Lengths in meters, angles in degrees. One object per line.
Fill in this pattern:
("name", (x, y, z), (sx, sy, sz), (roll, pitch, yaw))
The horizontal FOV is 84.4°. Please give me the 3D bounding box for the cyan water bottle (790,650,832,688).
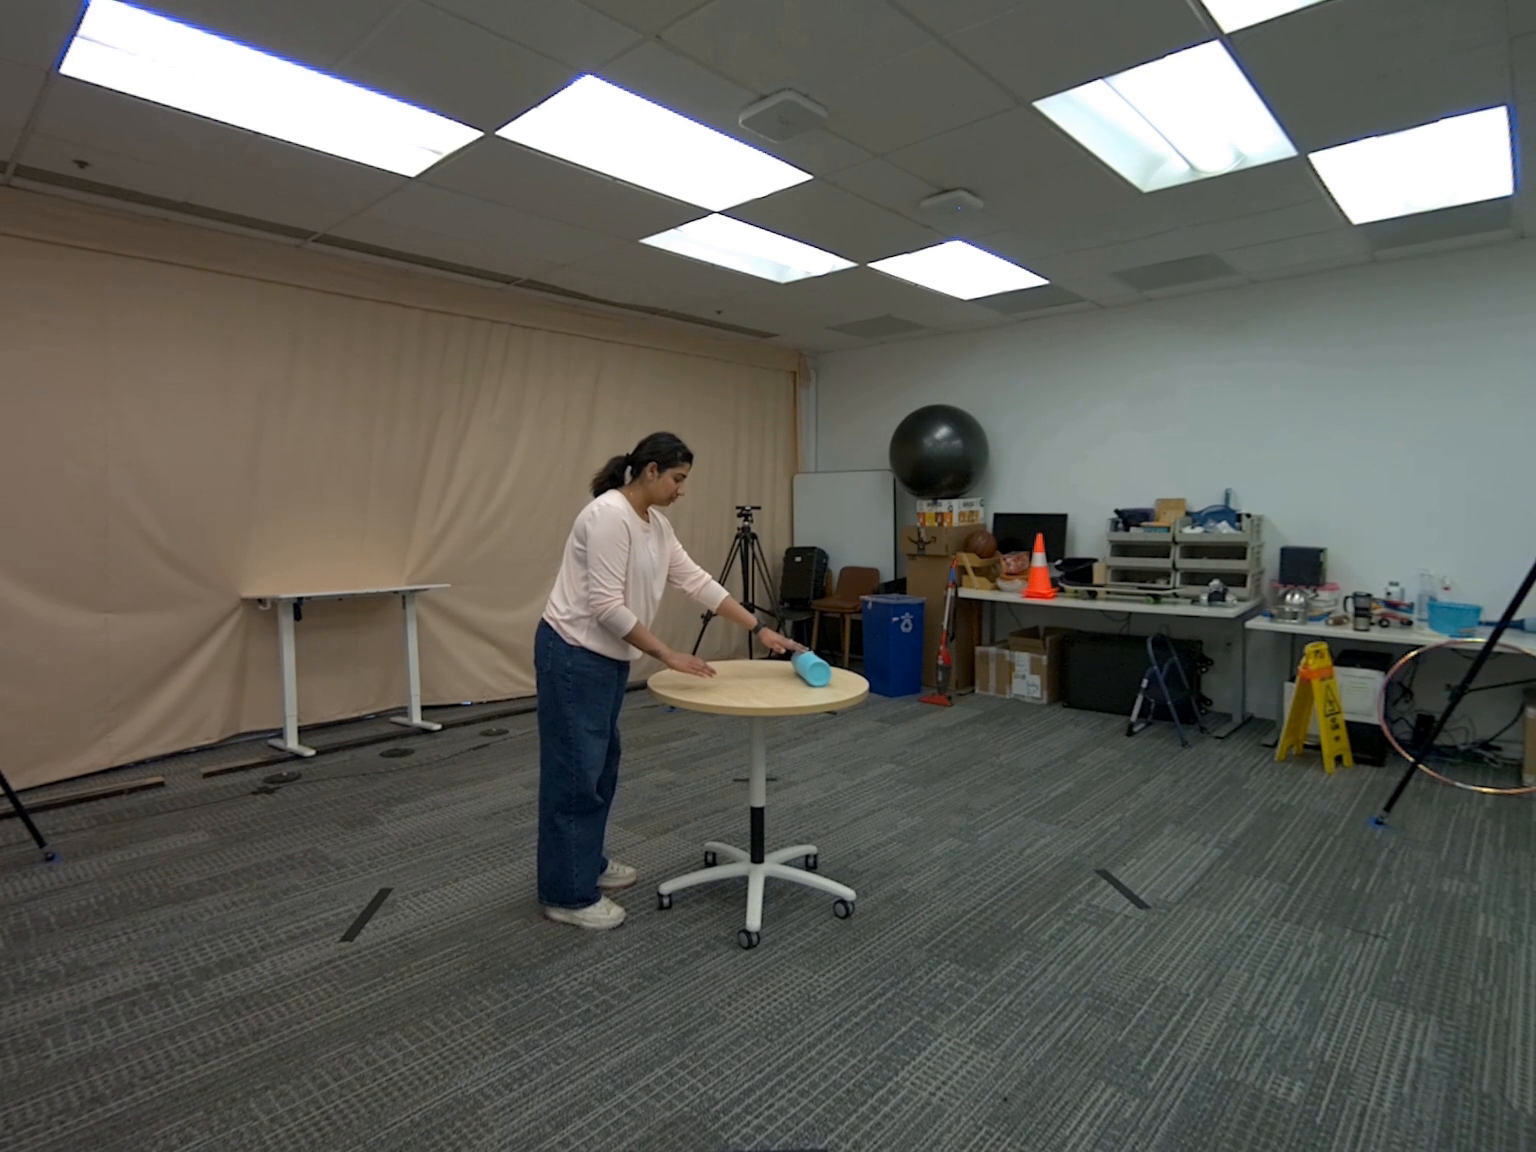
("cyan water bottle", (0.151, 0.320, 2.956), (0.092, 0.092, 0.286), (-1, 5, -7))
